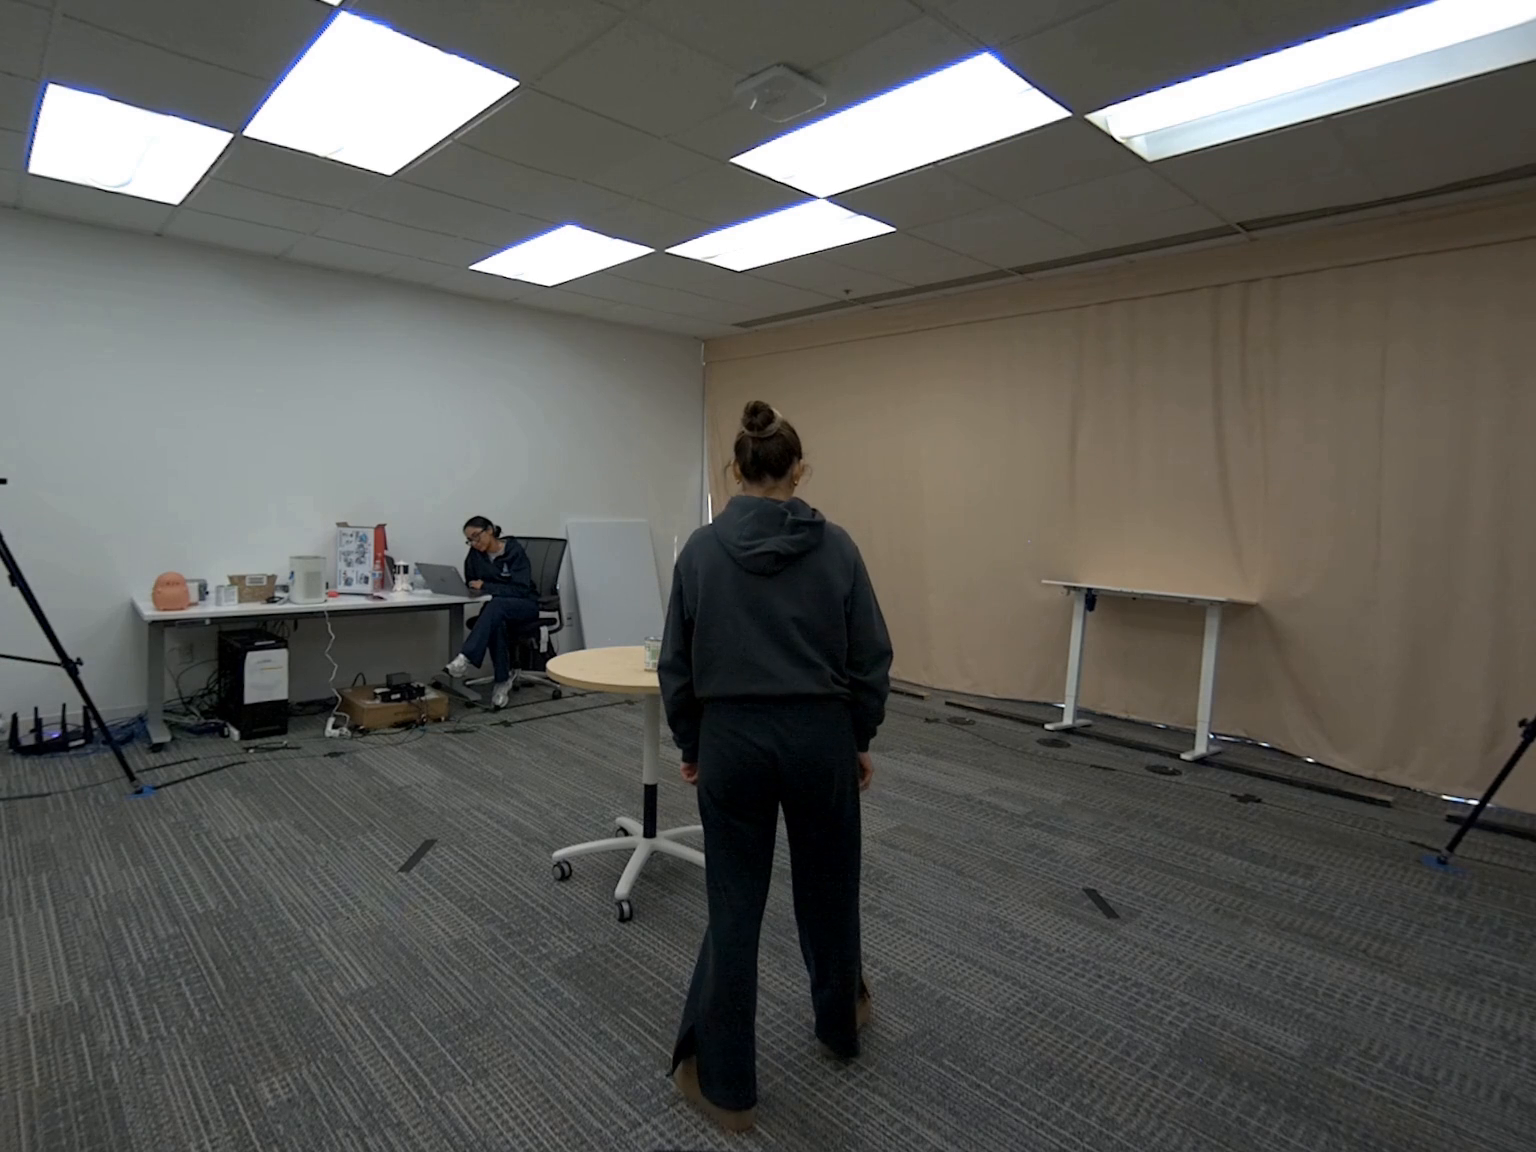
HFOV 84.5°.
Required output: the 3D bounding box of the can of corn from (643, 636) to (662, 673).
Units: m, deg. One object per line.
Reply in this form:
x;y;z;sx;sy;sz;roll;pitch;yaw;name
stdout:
-0.408;0.277;2.945;0.074;0.111;0.074;-1;2;-1;can of corn
